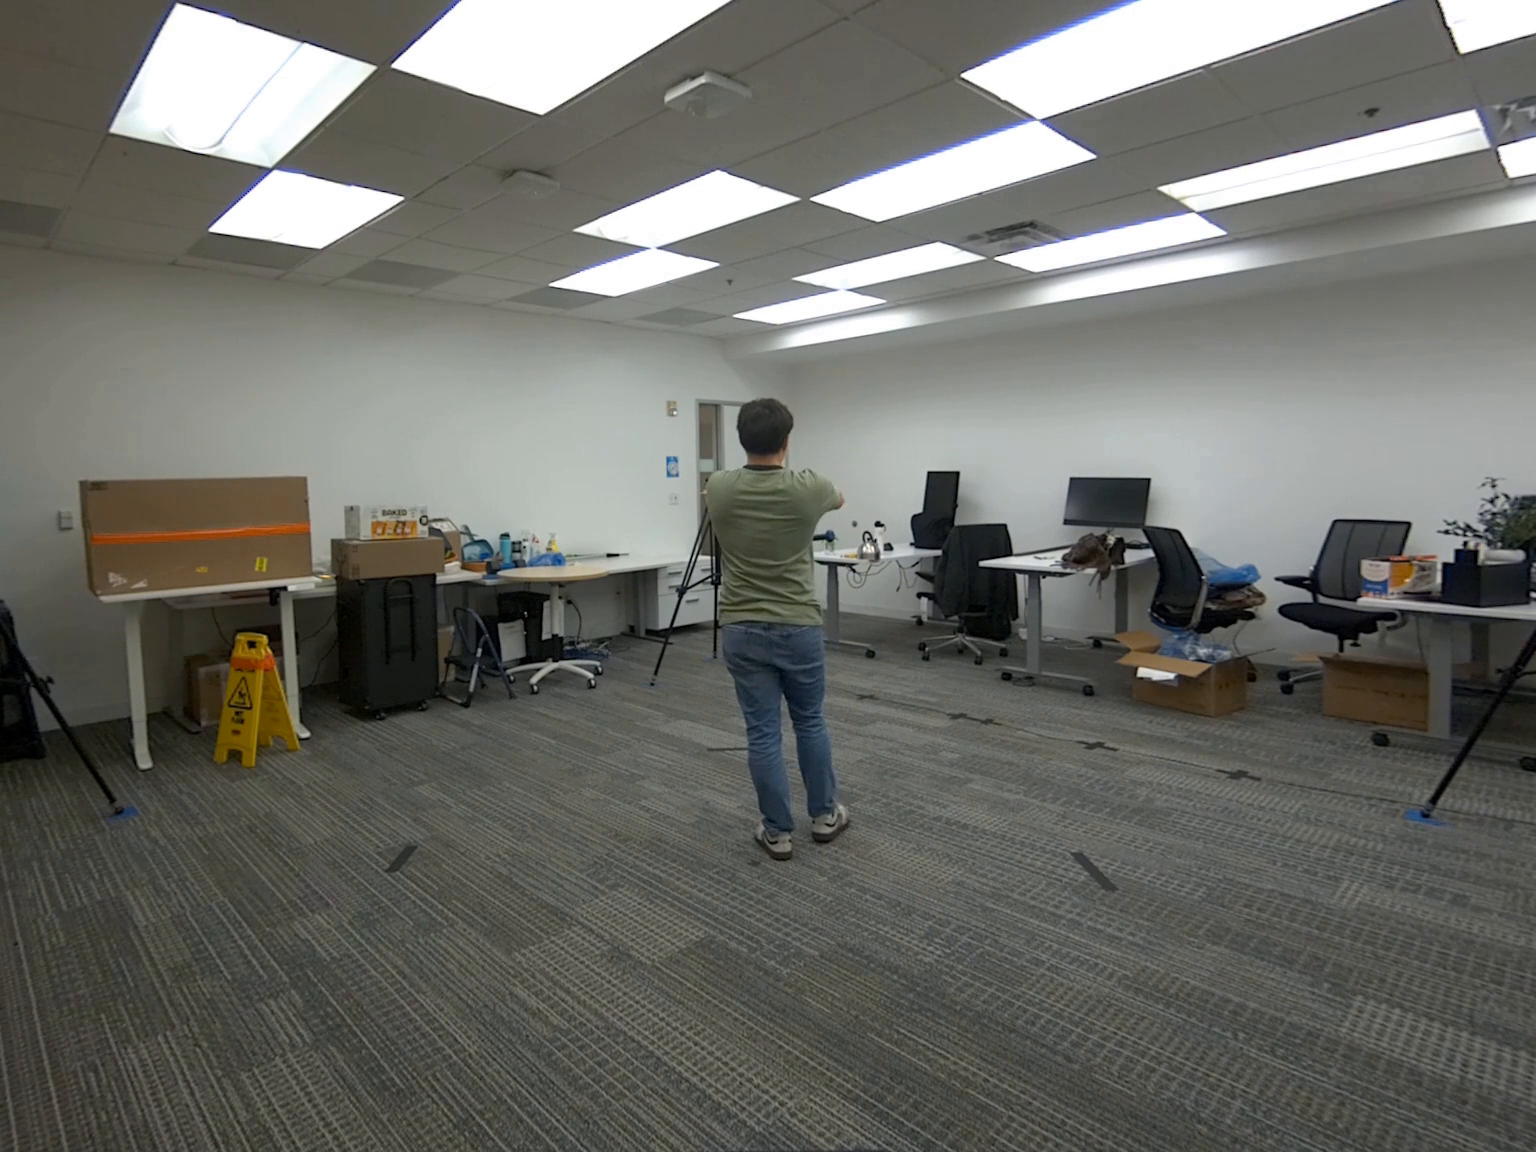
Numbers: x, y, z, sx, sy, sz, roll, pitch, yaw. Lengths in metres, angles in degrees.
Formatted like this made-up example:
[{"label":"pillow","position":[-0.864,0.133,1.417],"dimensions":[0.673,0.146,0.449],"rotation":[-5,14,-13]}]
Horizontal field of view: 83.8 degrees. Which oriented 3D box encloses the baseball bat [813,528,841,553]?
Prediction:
[{"label":"baseball bat","position":[0.051,-0.142,3.608],"dimensions":[0.558,0.089,0.087],"rotation":[-1,3,41]}]
